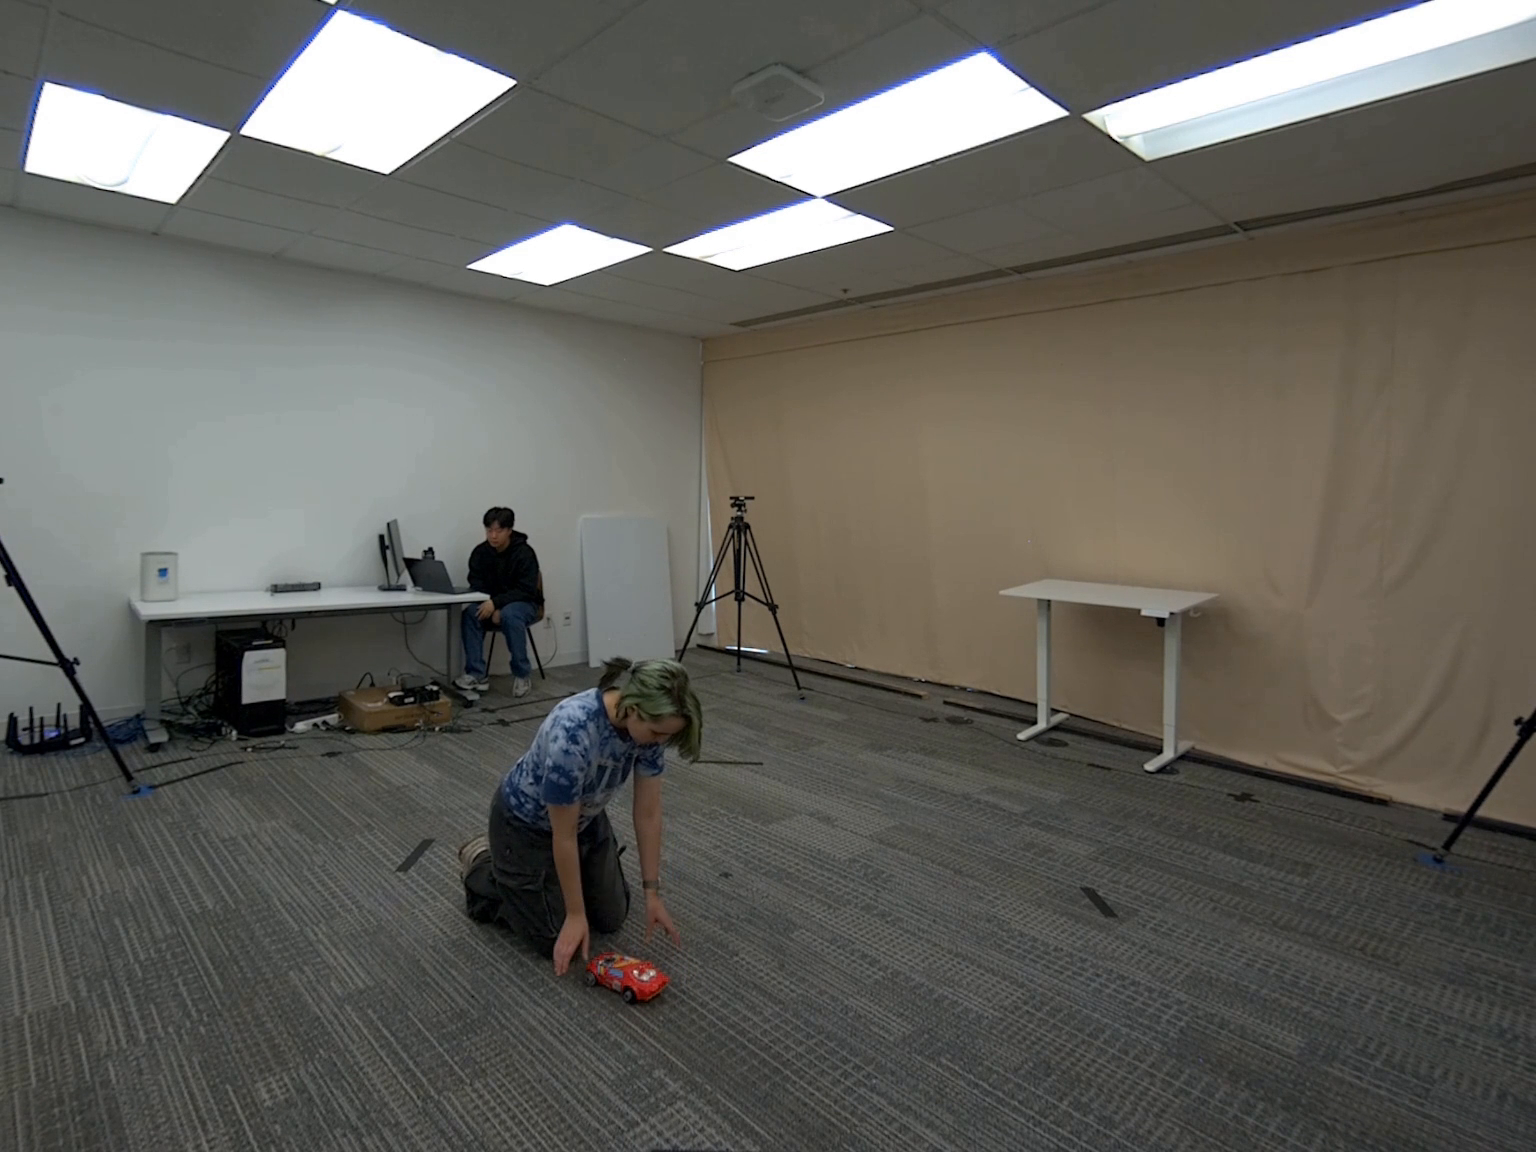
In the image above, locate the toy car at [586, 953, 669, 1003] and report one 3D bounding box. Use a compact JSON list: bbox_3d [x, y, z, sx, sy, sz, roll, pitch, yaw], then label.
[{"bbox_3d":[-0.398,1.137,2.364,0.259,0.083,0.128,-9,-1,34],"label":"toy car"}]
